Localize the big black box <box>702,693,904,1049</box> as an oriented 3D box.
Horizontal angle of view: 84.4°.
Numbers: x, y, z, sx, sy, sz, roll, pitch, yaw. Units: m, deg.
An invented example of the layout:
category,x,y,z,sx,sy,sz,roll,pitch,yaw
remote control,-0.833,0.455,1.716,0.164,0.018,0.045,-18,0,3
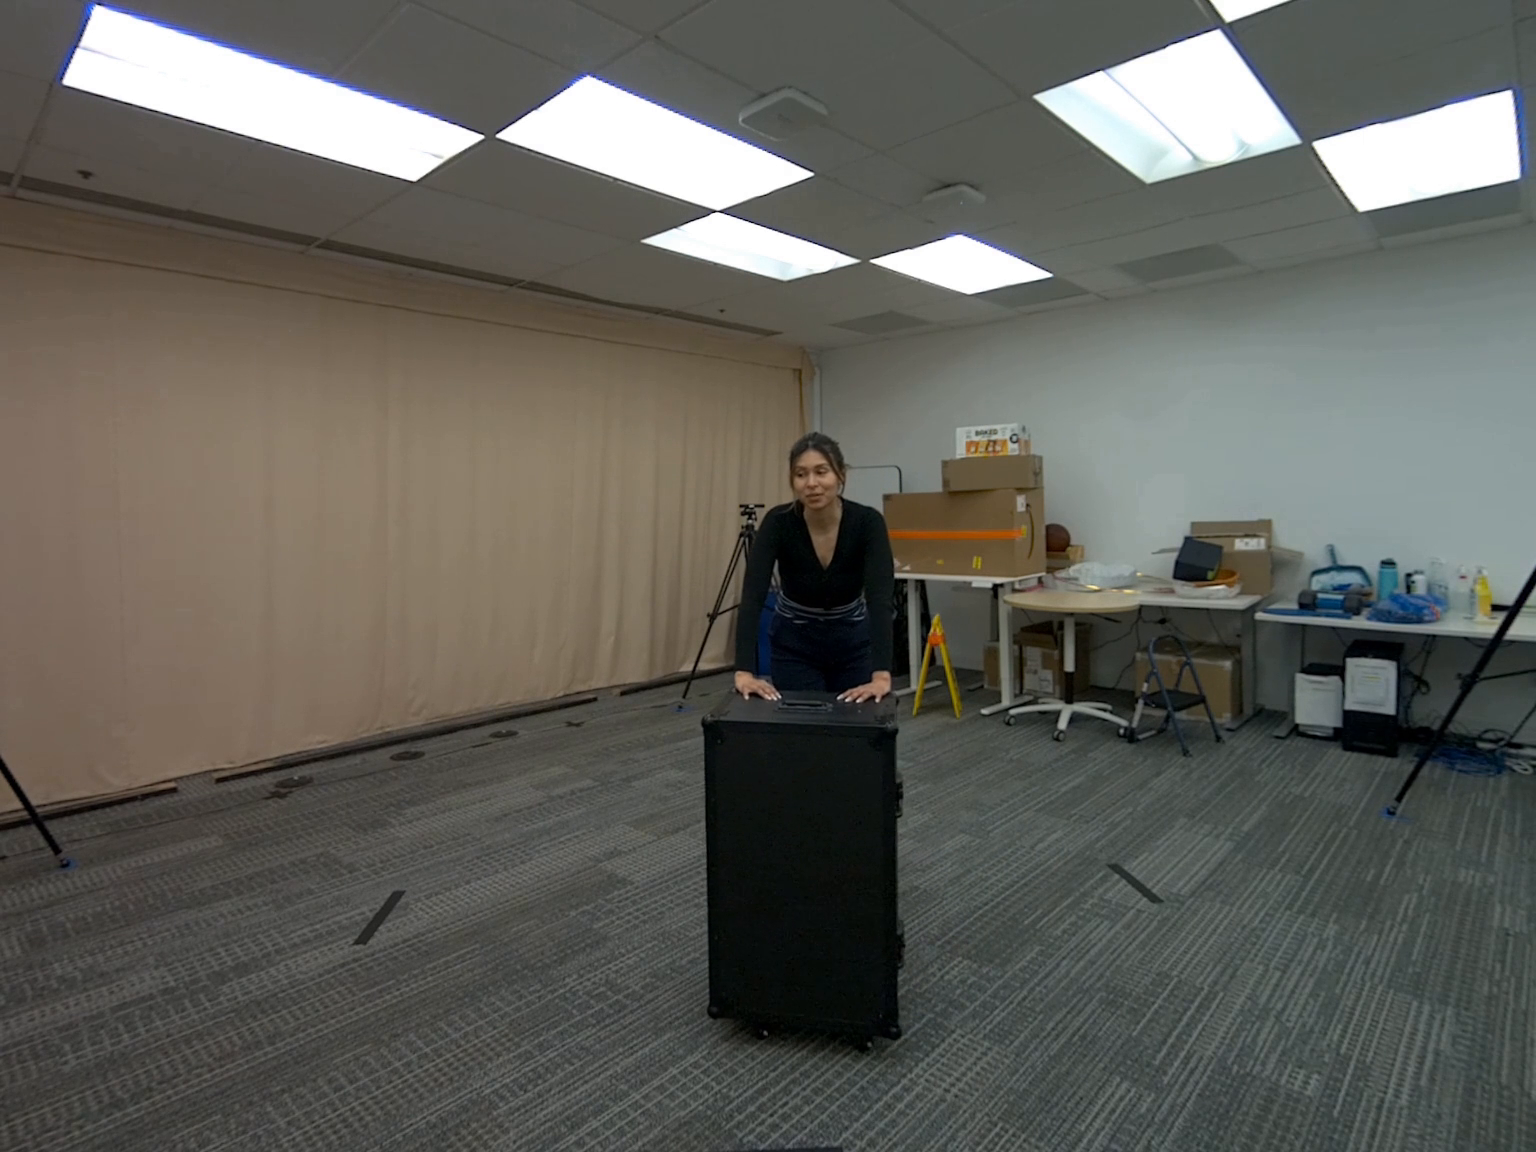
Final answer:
category,x,y,z,sx,sy,sz,roll,pitch,yaw
big black box,0.105,0.774,2.290,0.528,0.860,0.391,0,2,11
